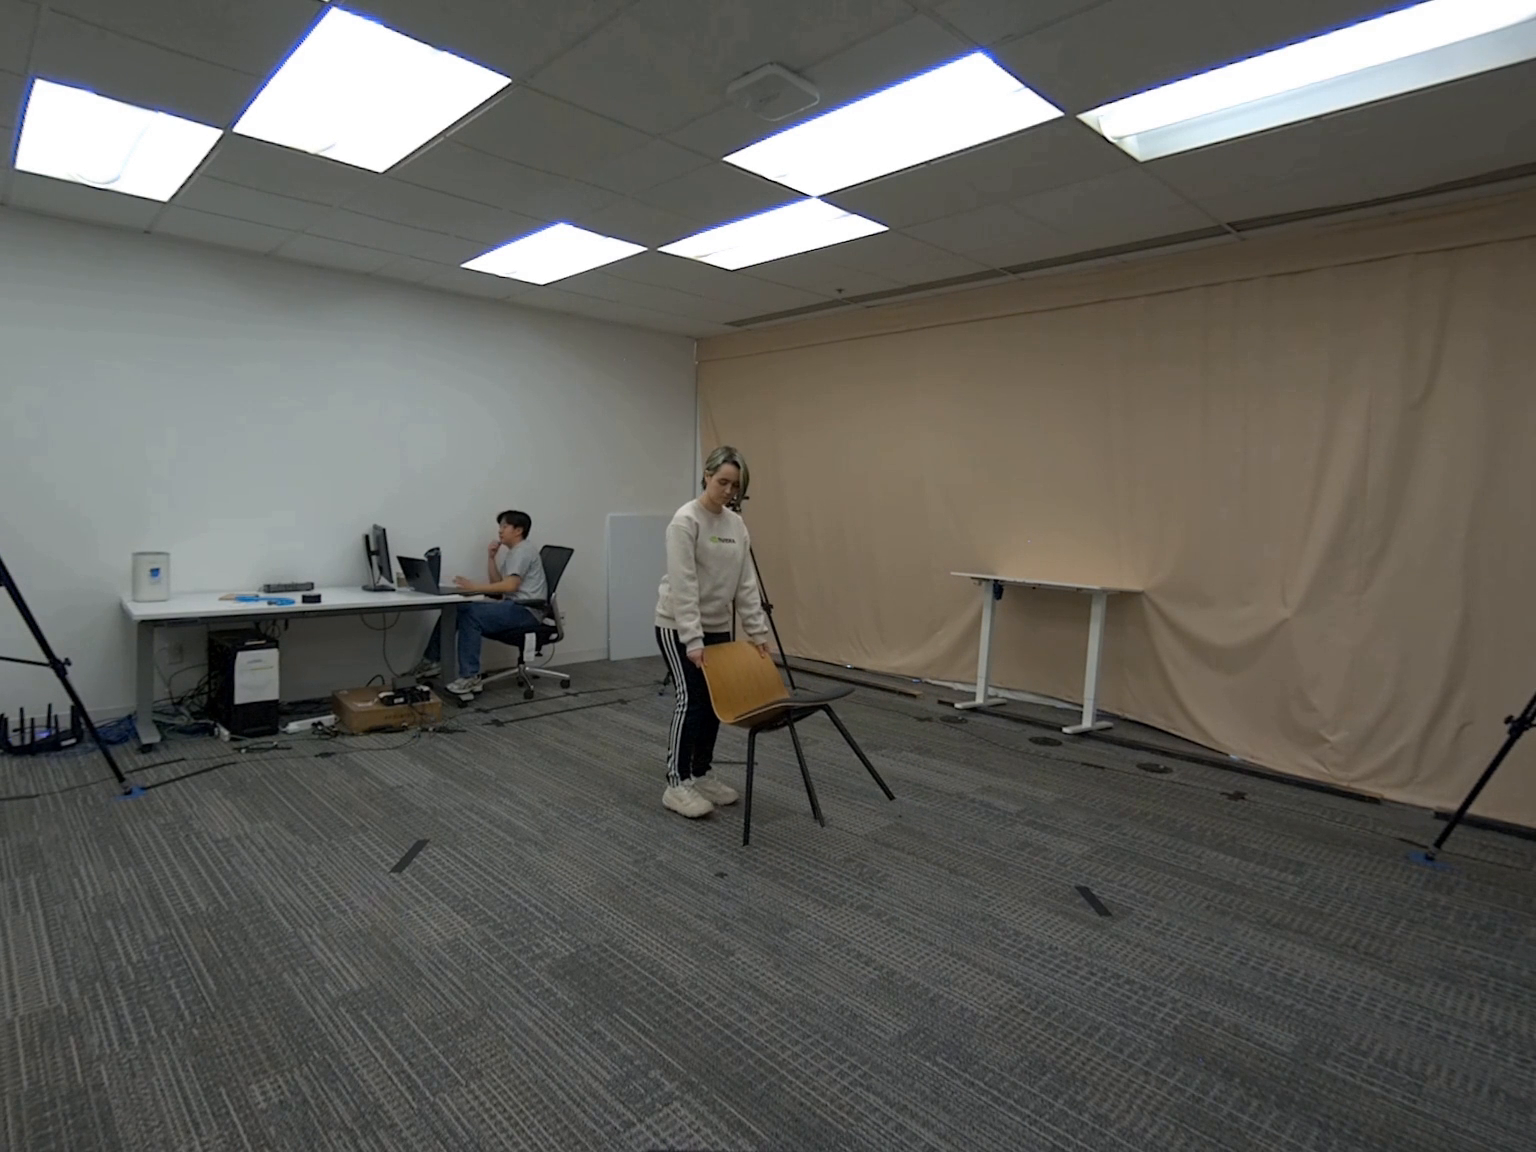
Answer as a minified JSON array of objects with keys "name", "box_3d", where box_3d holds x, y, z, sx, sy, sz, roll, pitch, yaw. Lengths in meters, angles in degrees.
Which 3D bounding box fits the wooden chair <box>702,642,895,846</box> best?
[{"name":"wooden chair","box_3d":[0.080,0.588,3.466,0.467,0.893,0.526,-2,-26,-45]}]
